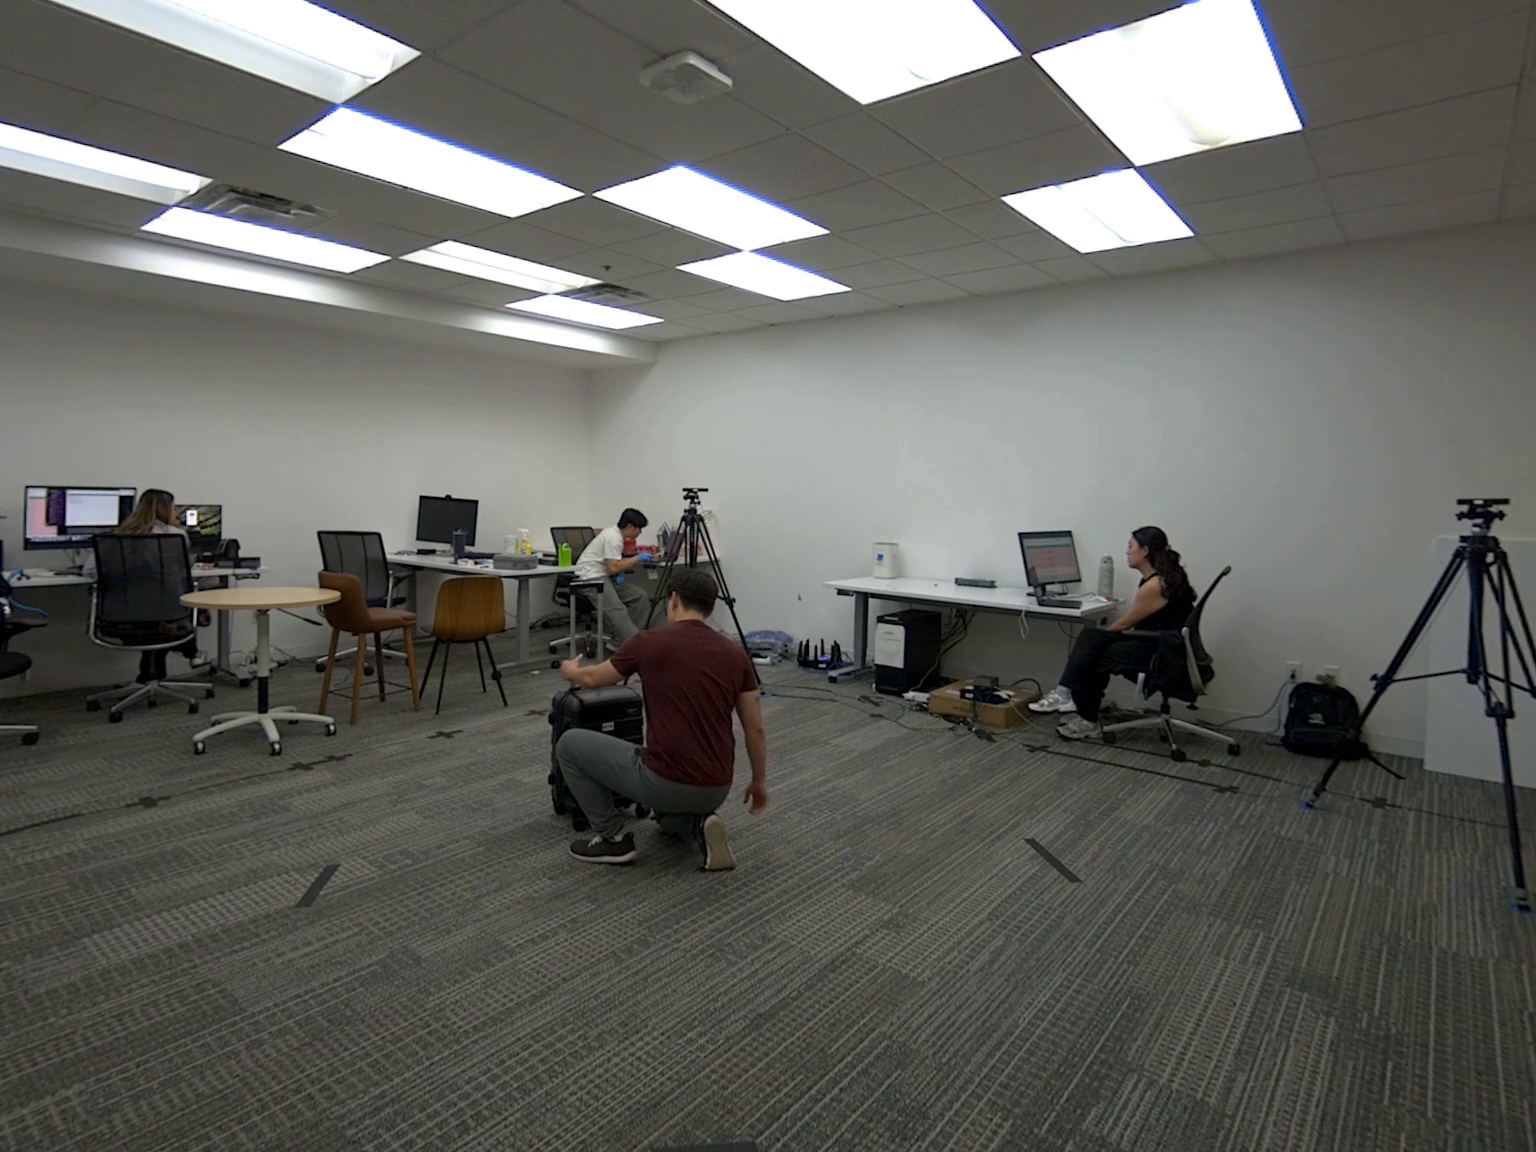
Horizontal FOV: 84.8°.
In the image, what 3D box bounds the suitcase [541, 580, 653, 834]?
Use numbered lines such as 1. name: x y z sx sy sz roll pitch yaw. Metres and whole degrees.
1. suitcase: -0.732 0.528 3.591 0.373 0.975 0.265 -3 4 -33
